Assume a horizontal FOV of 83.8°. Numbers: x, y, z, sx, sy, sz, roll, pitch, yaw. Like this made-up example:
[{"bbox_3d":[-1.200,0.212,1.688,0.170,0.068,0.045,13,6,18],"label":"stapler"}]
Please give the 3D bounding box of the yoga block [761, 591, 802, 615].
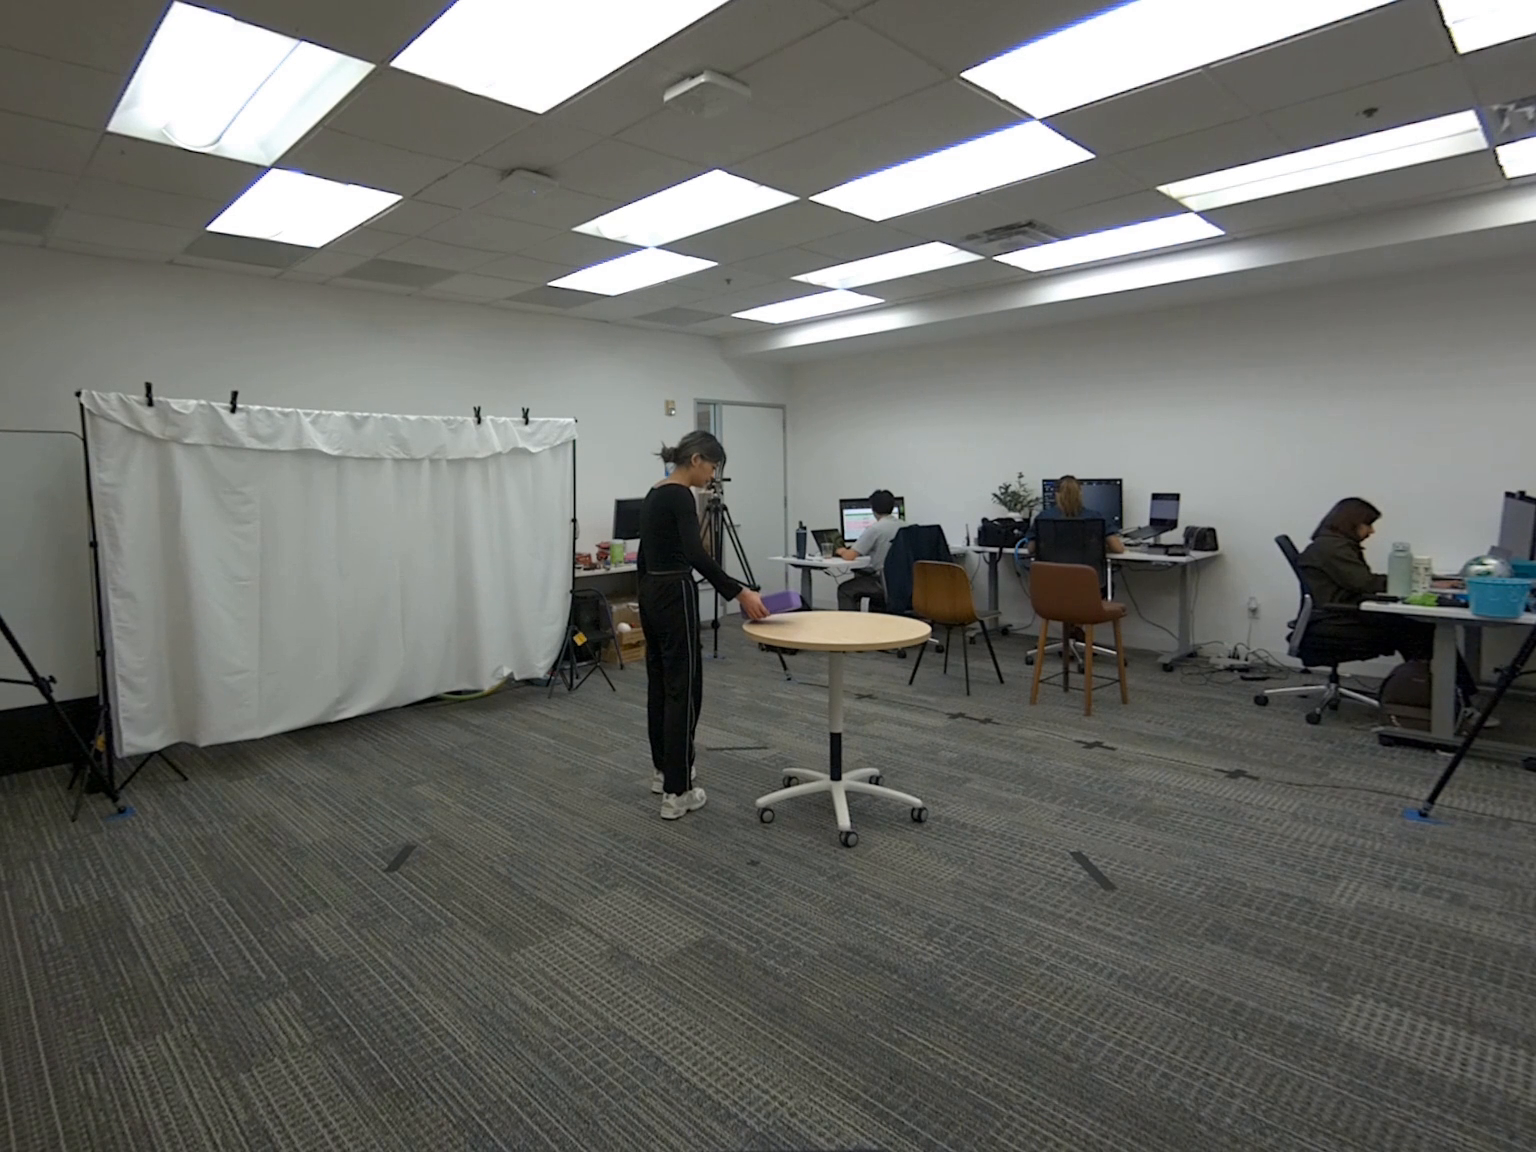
[{"bbox_3d":[0.000,0.119,3.605,0.231,0.077,0.147,-10,-5,9],"label":"yoga block"}]
